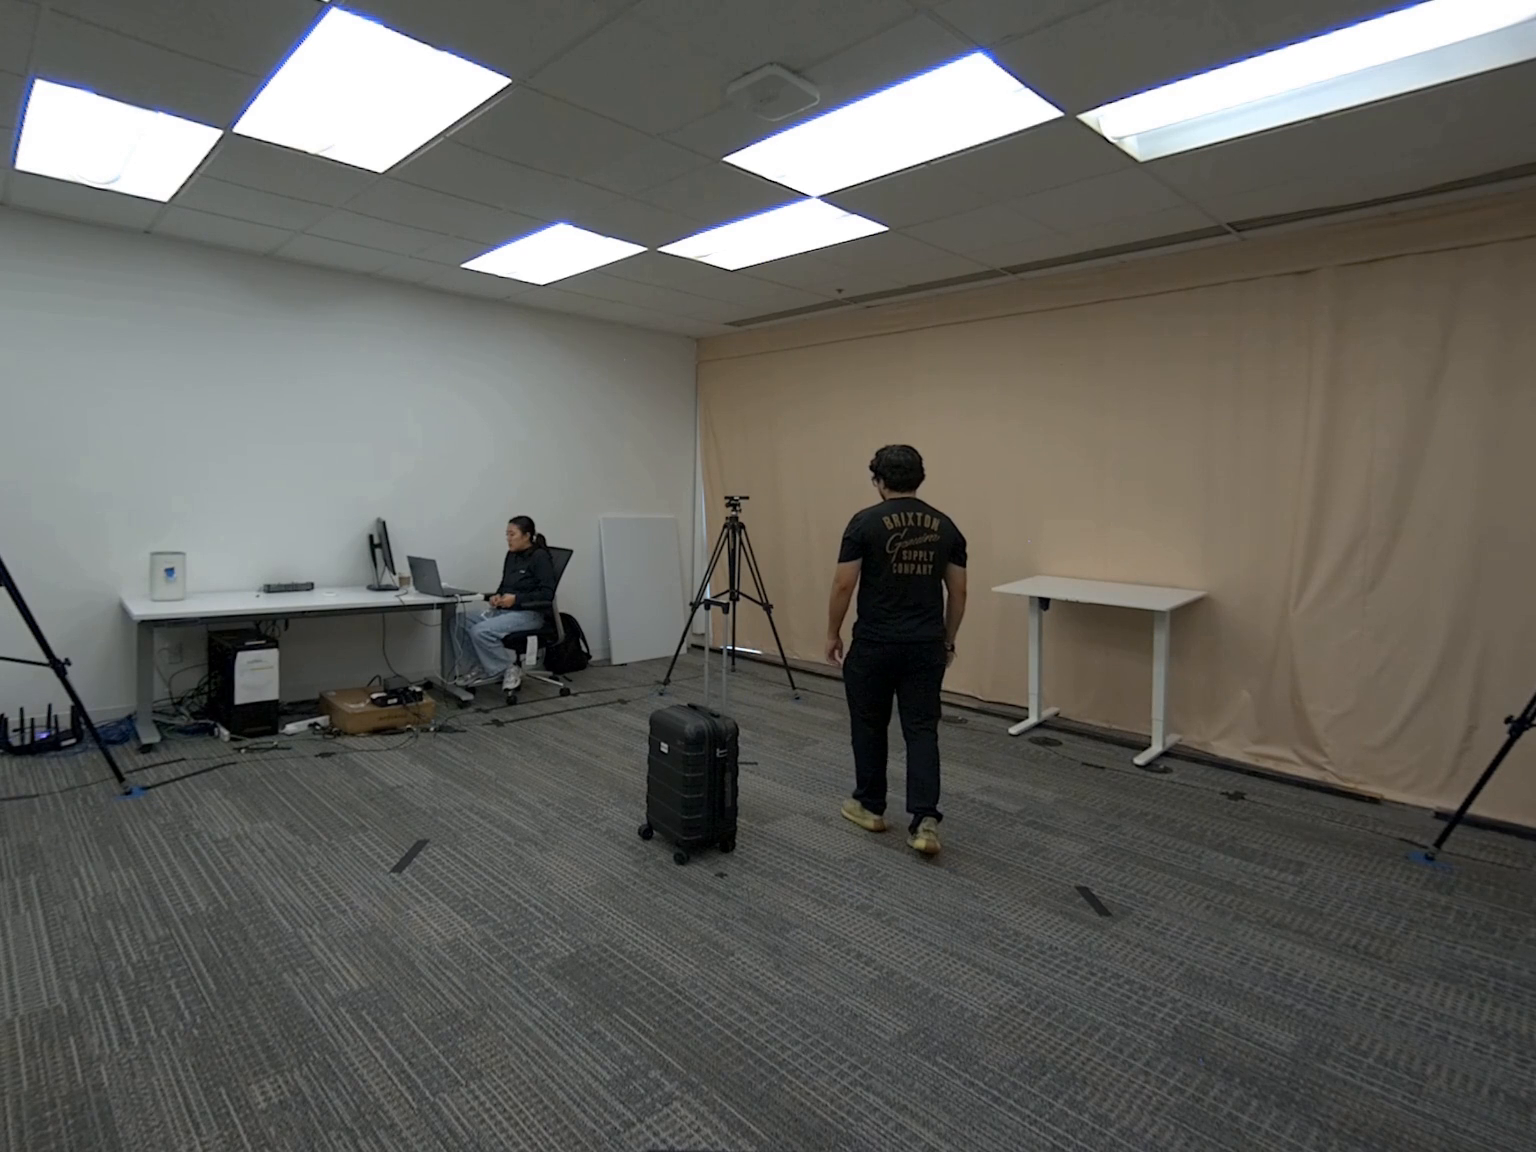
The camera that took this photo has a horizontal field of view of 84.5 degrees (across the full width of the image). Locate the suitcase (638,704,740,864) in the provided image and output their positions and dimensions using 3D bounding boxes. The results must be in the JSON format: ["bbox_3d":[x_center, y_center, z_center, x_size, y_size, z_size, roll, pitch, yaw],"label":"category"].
[{"bbox_3d":[-0.310,0.598,3.342,0.251,0.977,0.393,0,3,-36],"label":"suitcase"}]
